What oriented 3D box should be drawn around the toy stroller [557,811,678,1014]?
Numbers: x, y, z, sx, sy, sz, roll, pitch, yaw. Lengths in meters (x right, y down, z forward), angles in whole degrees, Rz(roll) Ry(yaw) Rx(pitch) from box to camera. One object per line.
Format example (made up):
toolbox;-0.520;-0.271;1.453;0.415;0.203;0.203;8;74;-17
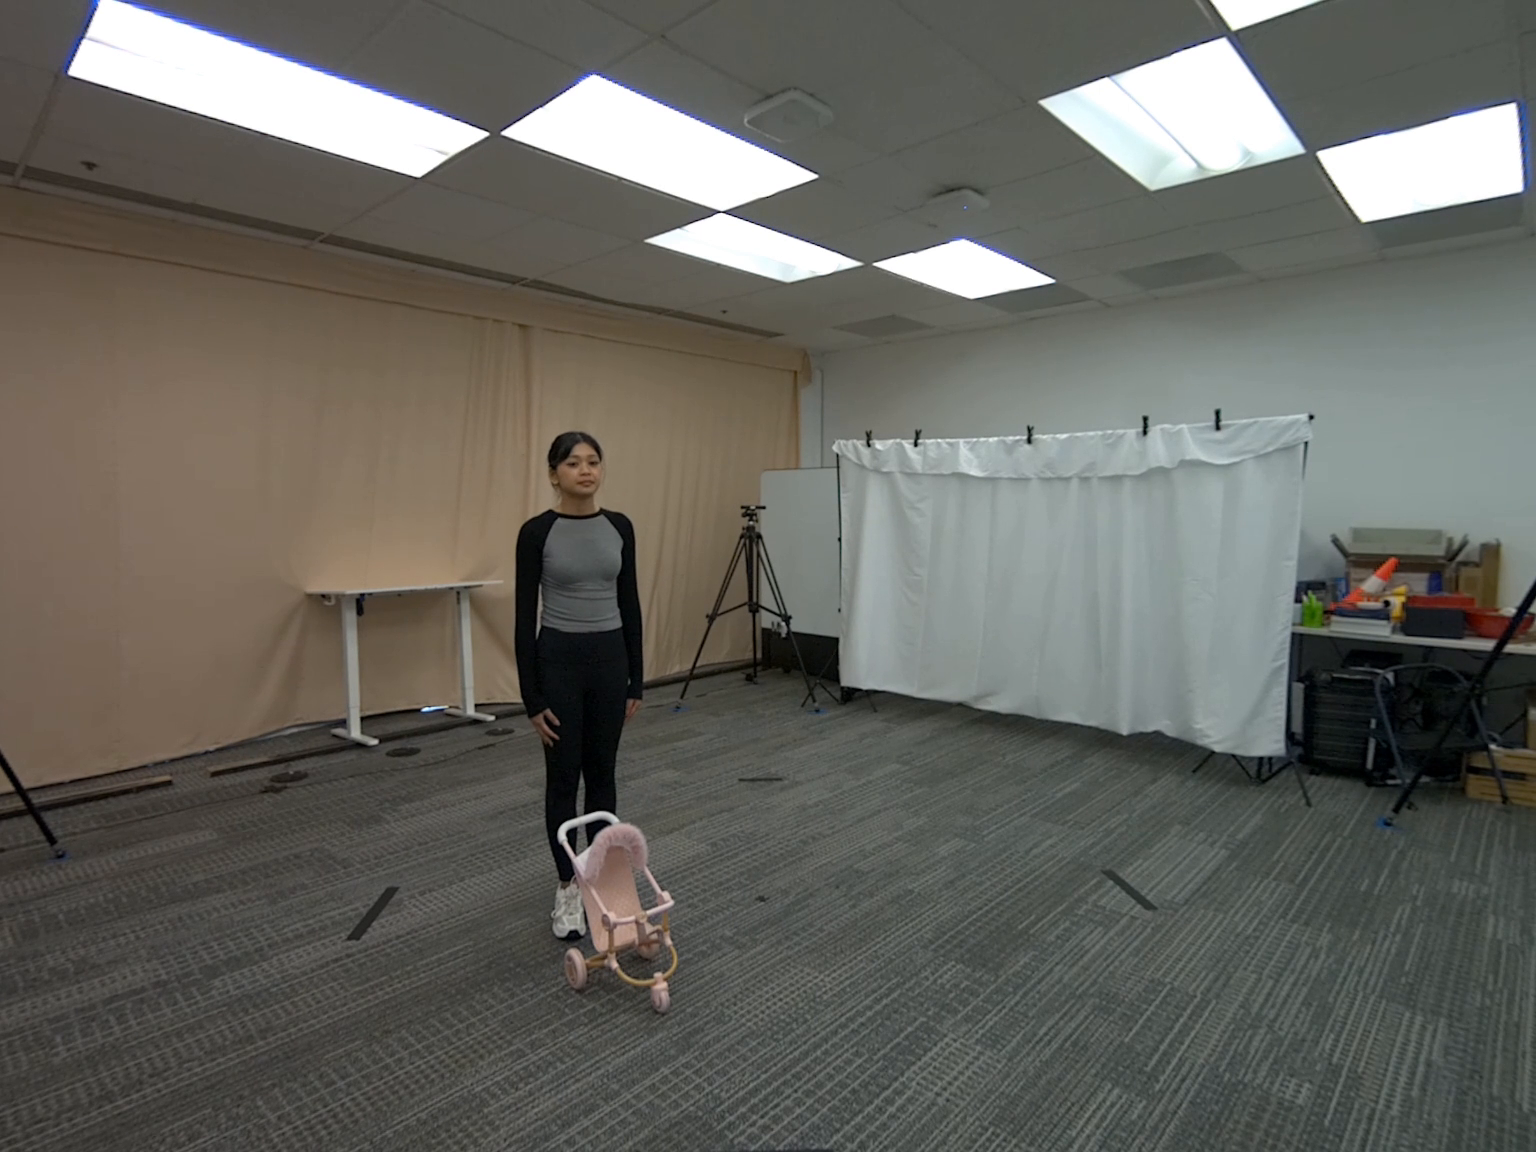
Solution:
toy stroller;-0.428;0.970;2.452;0.273;0.540;0.348;-3;-13;-36
